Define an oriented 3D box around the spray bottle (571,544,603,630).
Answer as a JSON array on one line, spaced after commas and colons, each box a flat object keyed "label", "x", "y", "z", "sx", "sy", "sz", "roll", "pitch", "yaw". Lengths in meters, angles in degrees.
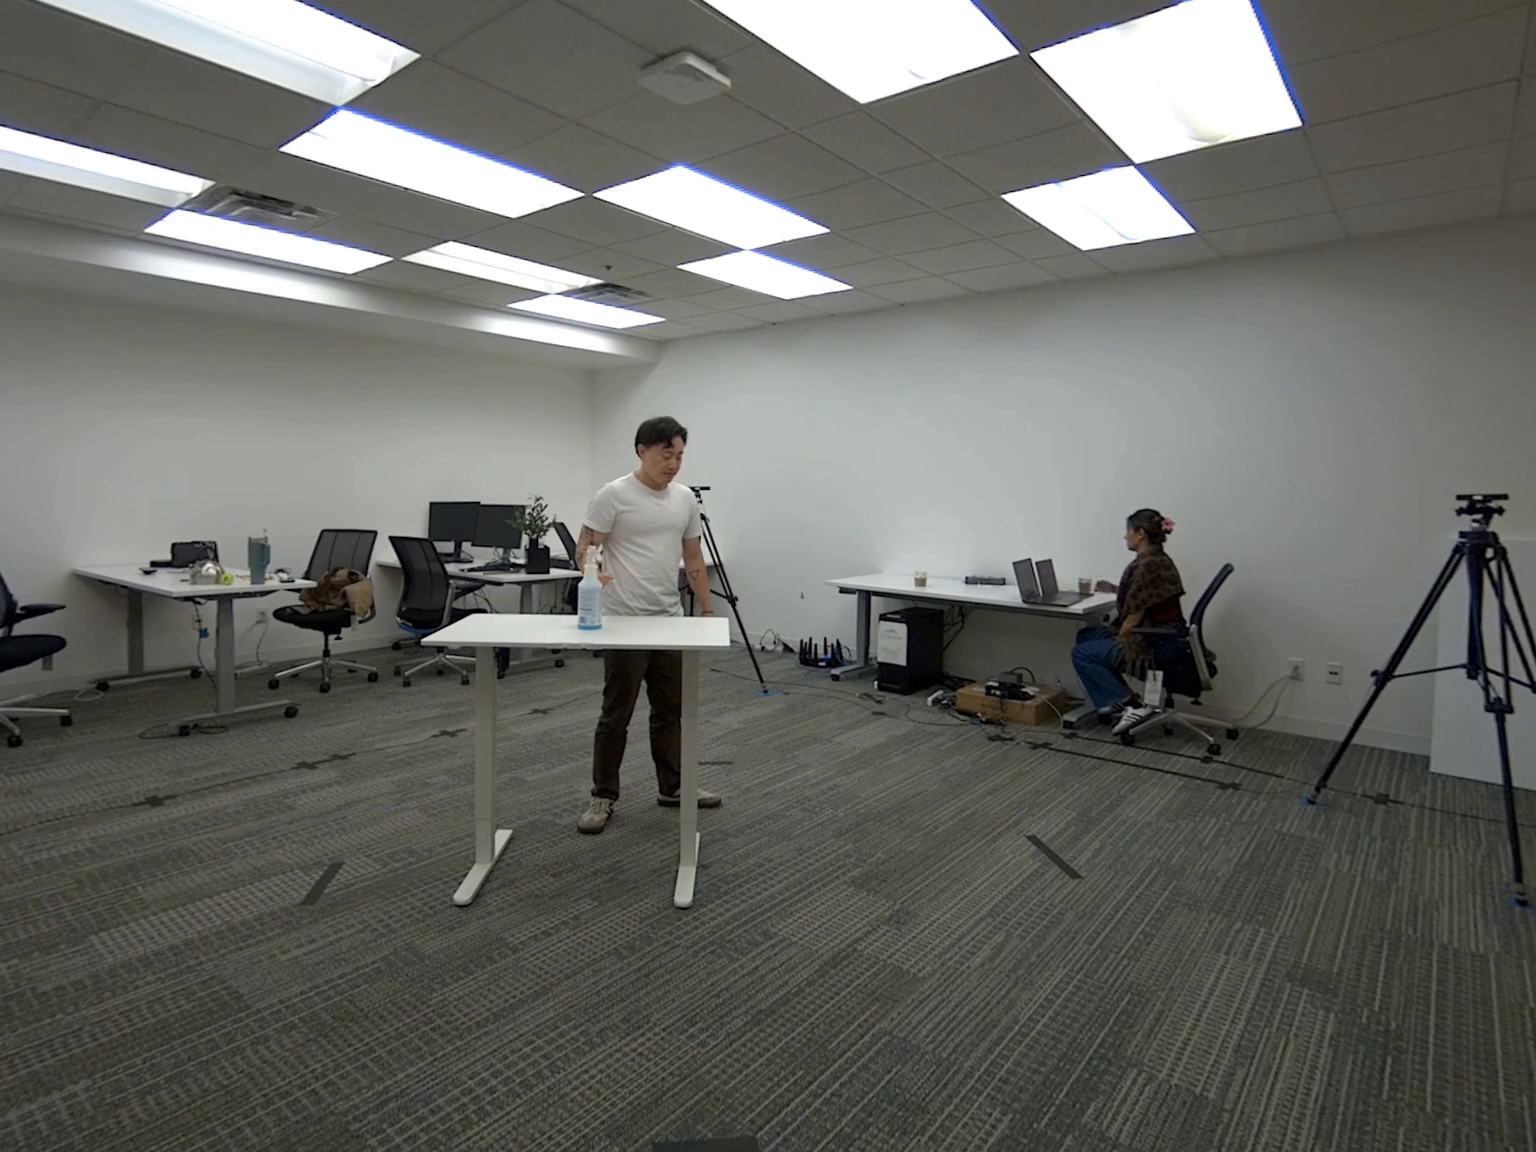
[{"label": "spray bottle", "x": -0.653, "y": 0.036, "z": 3.035, "sx": 0.087, "sy": 0.296, "sz": 0.090, "roll": 0, "pitch": 5, "yaw": 2}]
